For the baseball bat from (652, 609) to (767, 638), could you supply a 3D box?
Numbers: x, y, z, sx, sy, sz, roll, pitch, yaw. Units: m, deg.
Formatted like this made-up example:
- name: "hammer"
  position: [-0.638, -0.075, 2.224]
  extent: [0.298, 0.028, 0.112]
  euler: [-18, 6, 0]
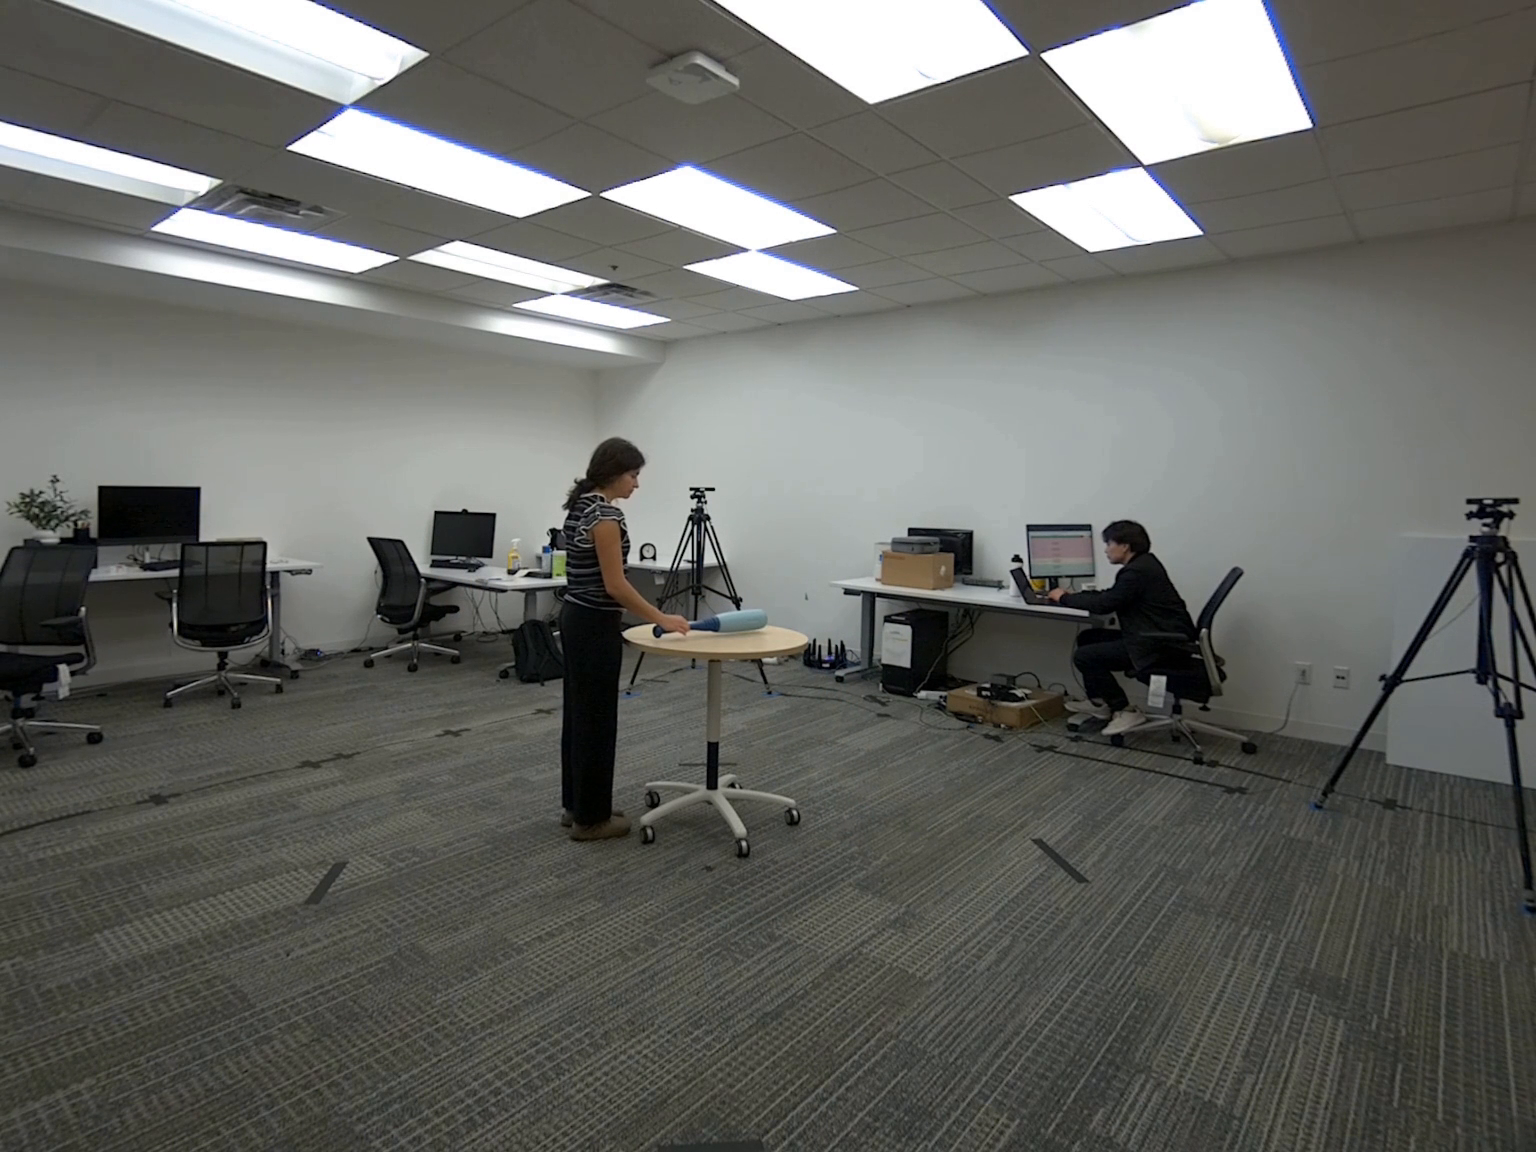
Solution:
- name: "baseball bat"
  position: [-0.253, 0.204, 3.492]
  extent: [0.528, 0.088, 0.092]
  euler: [-5, 7, -34]
